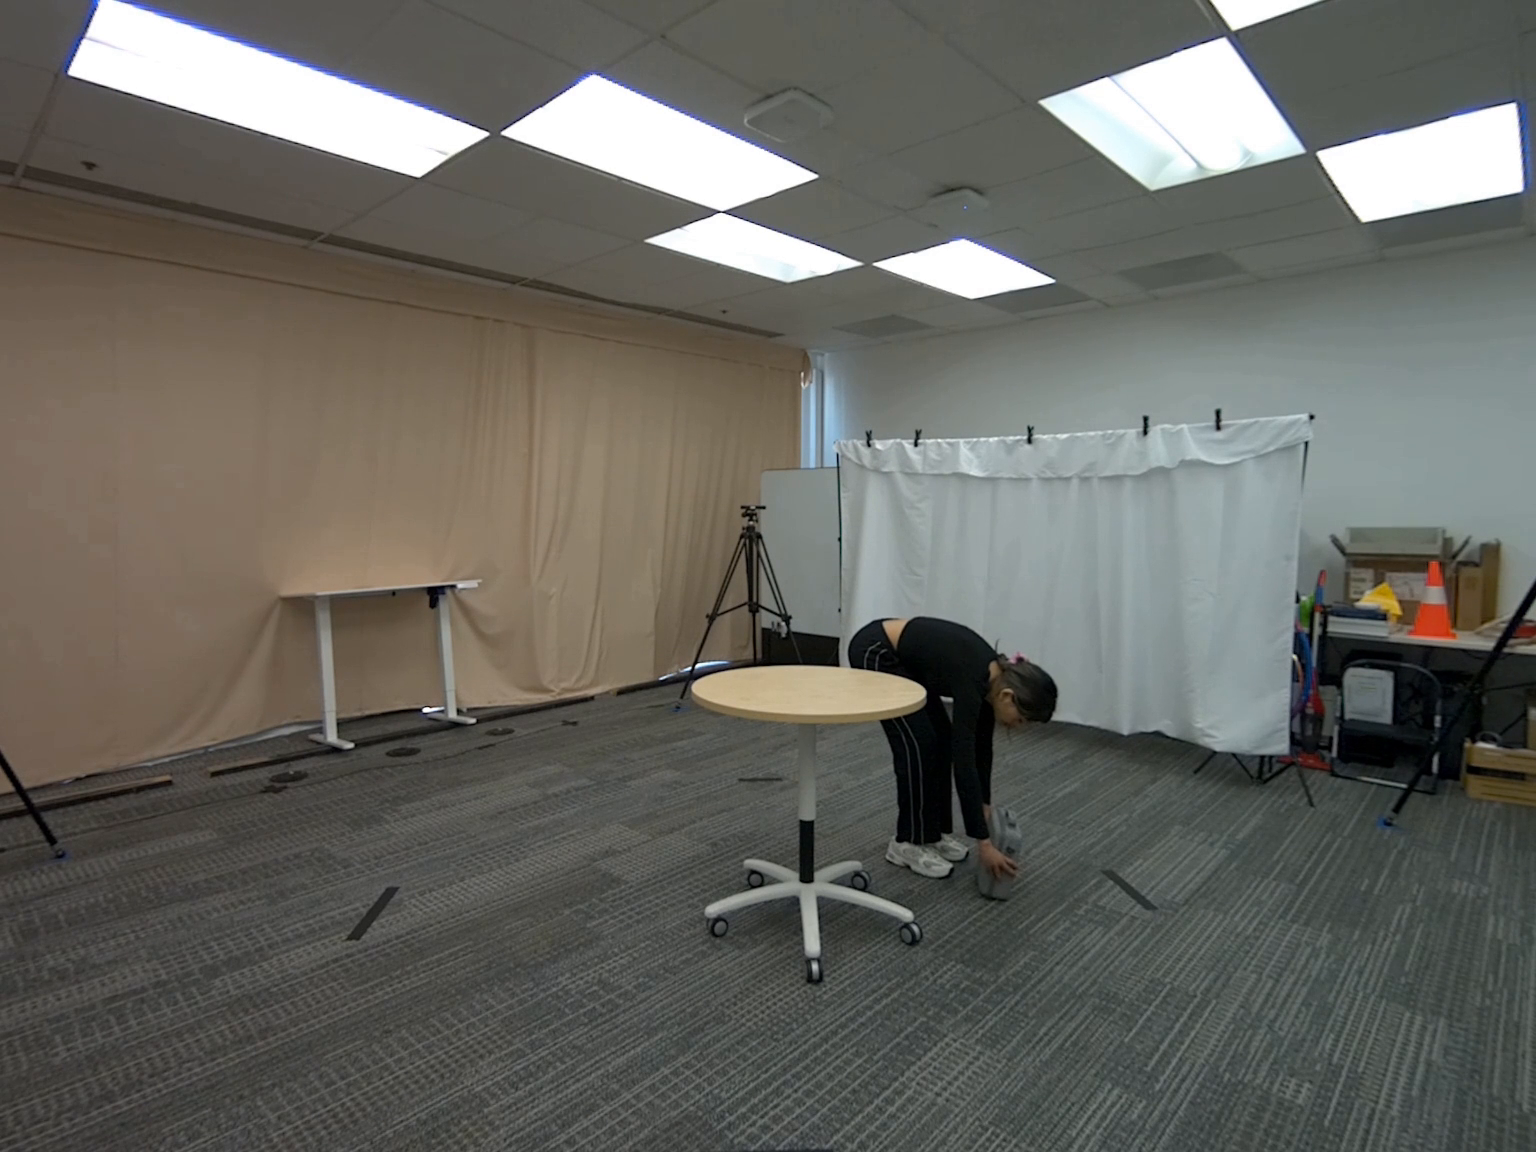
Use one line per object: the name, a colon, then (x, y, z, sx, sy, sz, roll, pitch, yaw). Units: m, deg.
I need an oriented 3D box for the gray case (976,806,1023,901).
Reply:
gray case: (0.840, 0.999, 3.066, 0.106, 0.260, 0.254, 9, 5, 10)
